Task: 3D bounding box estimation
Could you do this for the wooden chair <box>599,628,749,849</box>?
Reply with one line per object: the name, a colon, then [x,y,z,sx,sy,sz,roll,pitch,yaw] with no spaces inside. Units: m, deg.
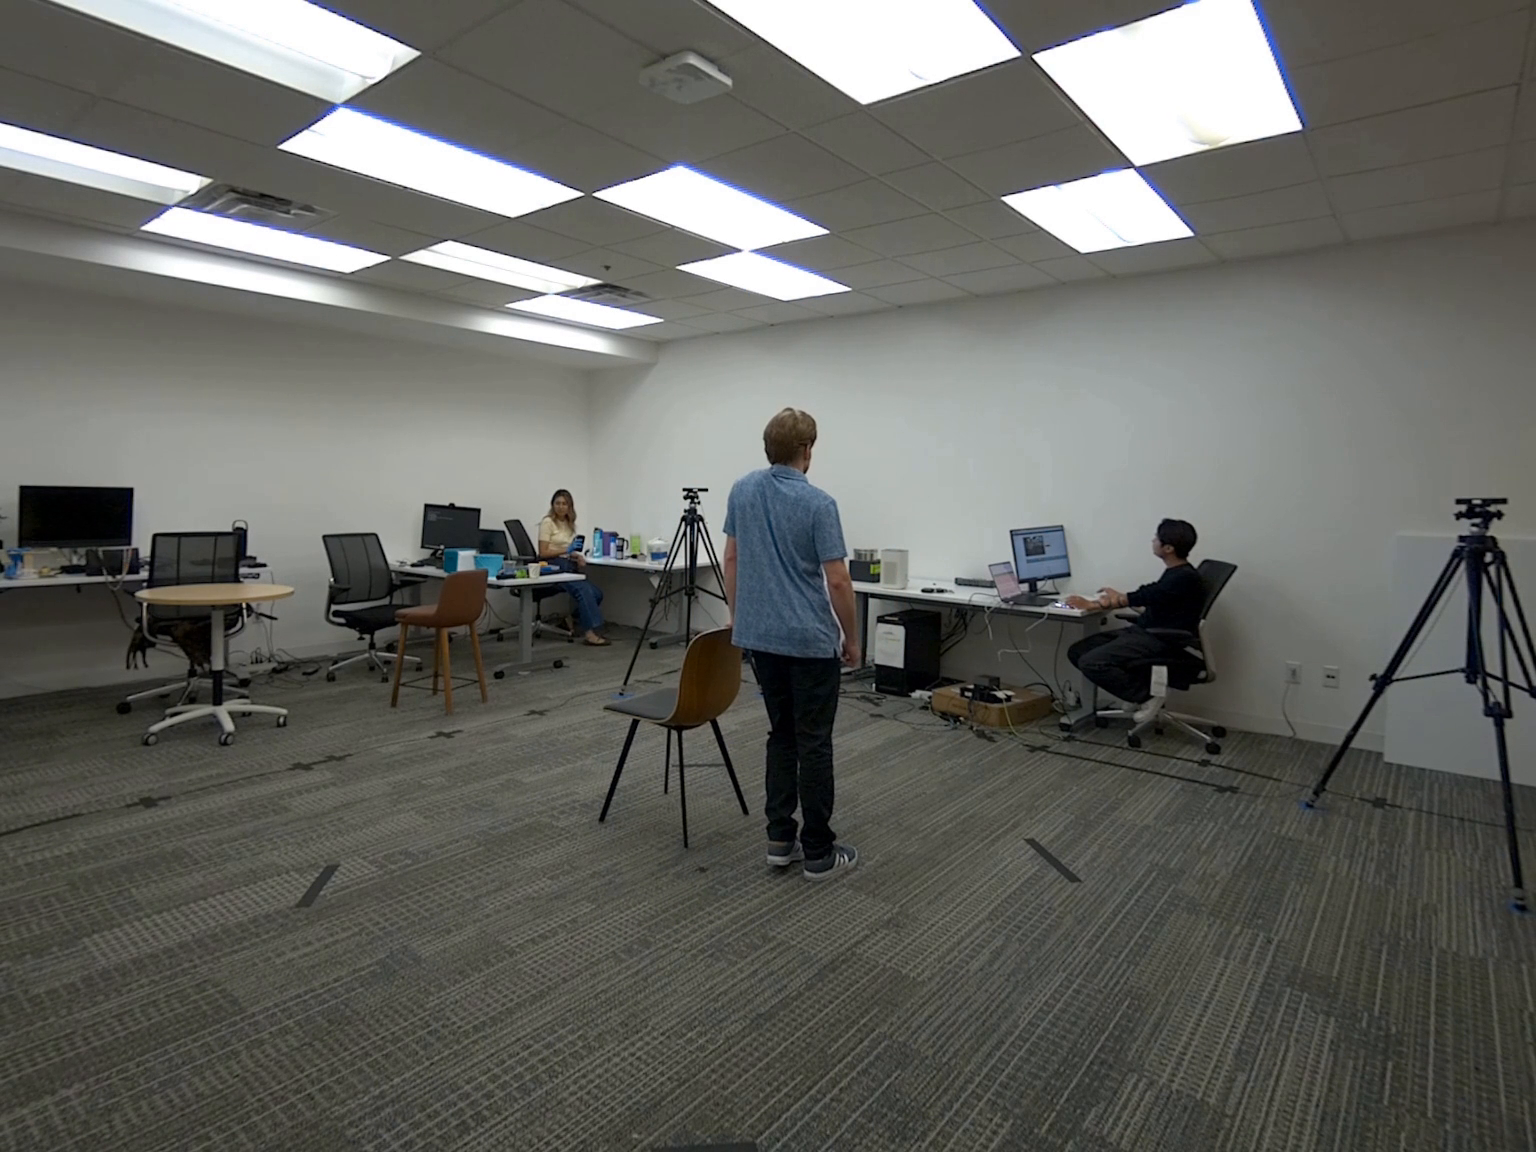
wooden chair: [-0.405,0.594,3.570,0.540,0.873,0.465,8,7,33]
